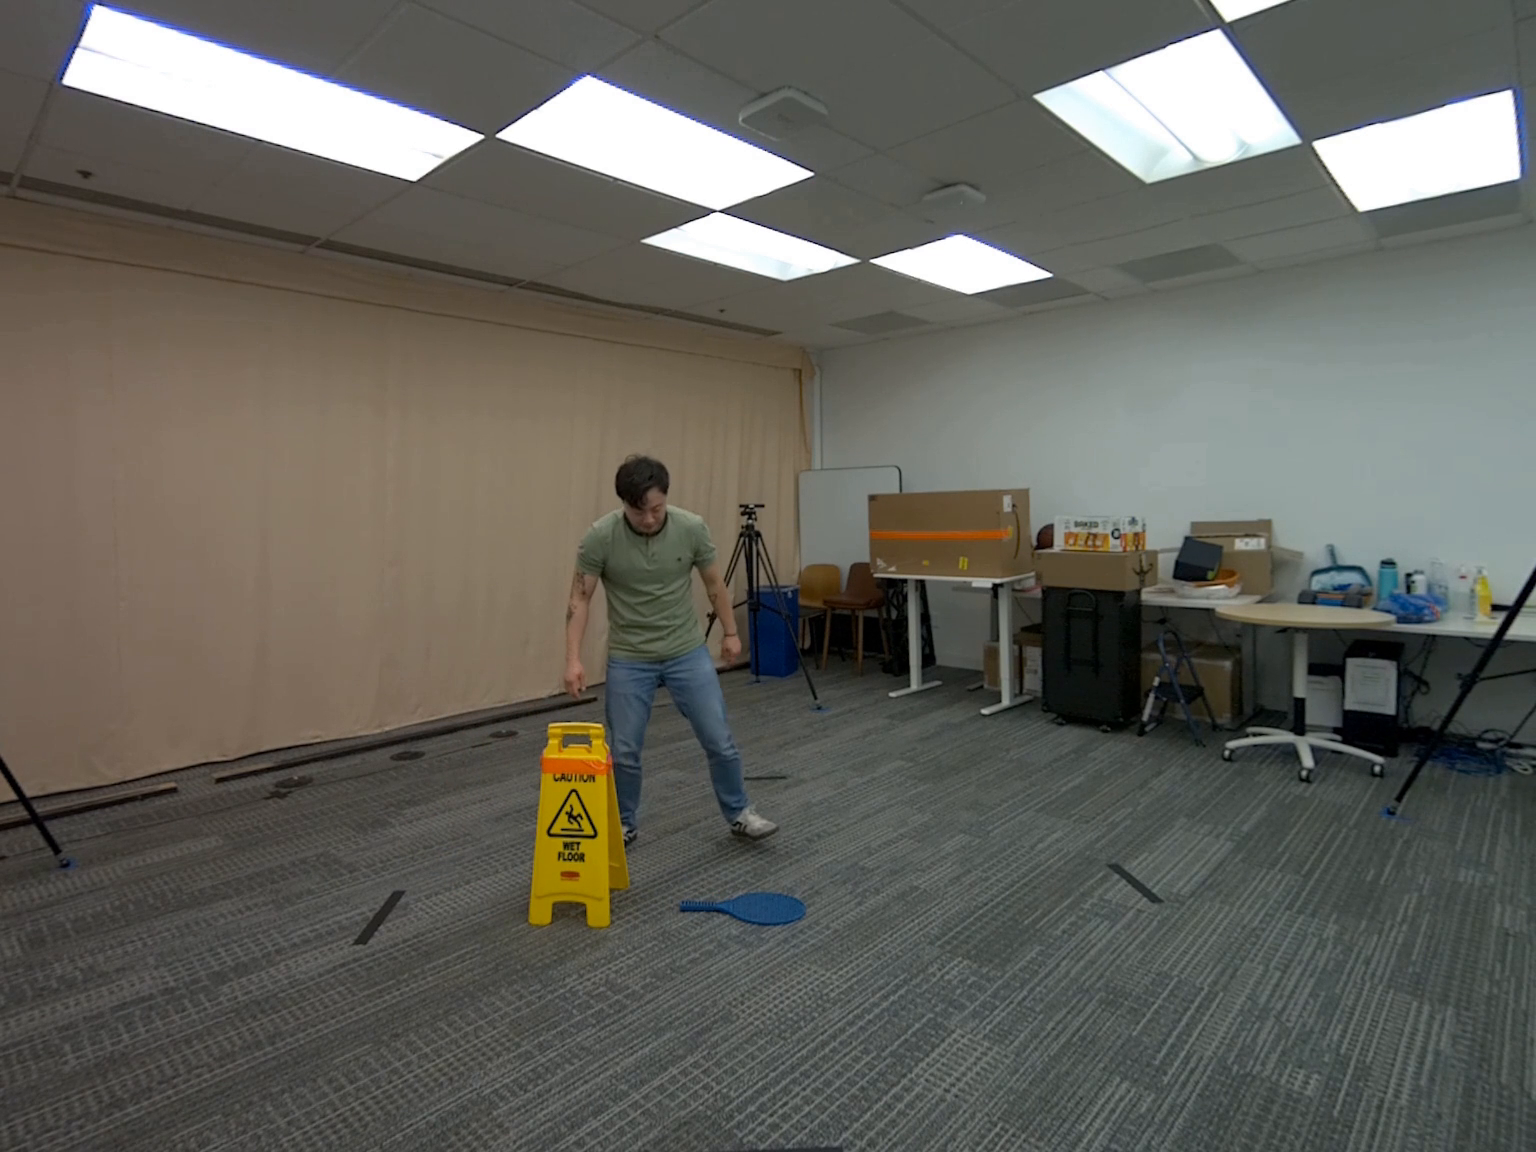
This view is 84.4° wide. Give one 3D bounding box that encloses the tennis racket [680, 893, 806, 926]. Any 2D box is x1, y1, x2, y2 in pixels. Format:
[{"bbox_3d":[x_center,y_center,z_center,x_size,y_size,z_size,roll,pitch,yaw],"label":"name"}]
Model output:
[{"bbox_3d":[-0.084,1.134,2.891,0.433,0.032,0.214,0,5,-1],"label":"tennis racket"}]
